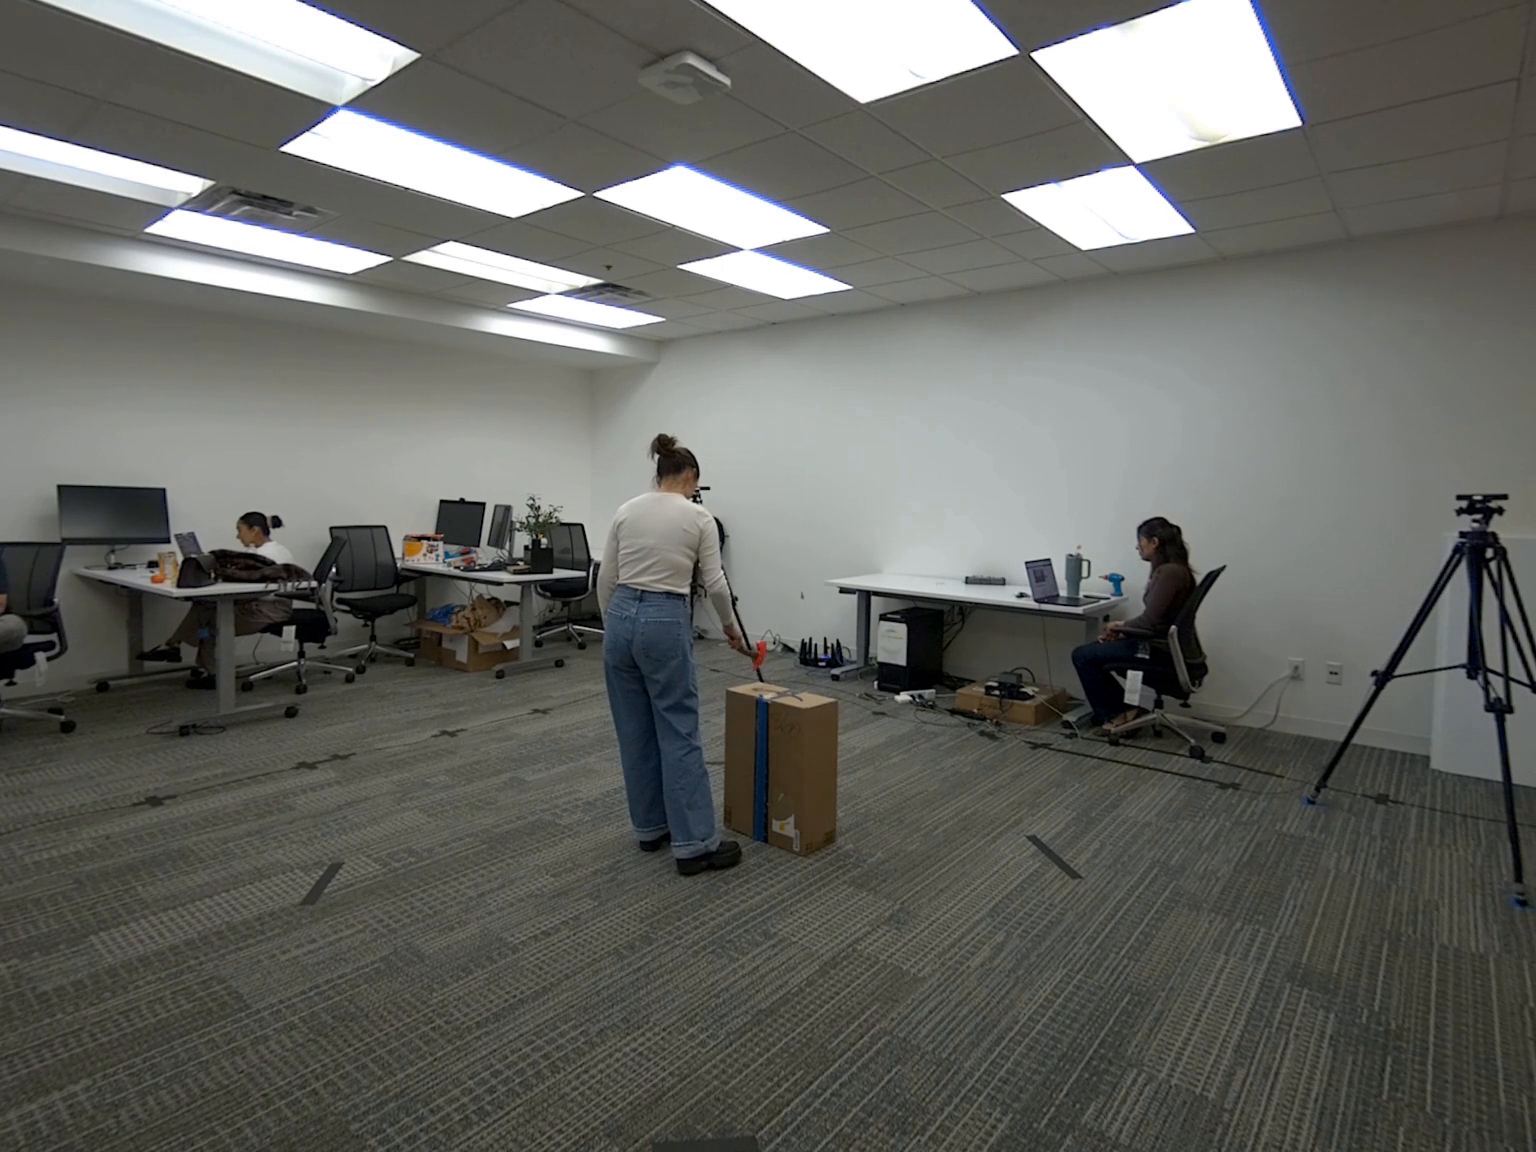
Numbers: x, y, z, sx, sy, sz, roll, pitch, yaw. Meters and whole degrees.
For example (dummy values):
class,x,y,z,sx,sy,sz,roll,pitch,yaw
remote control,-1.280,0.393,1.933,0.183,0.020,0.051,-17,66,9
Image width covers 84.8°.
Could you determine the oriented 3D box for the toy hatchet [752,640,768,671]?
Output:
class,x,y,z,sx,sy,sz,roll,pitch,yaw
toy hatchet,-0.093,0.292,3.508,0.031,0.131,0.259,17,-28,40
